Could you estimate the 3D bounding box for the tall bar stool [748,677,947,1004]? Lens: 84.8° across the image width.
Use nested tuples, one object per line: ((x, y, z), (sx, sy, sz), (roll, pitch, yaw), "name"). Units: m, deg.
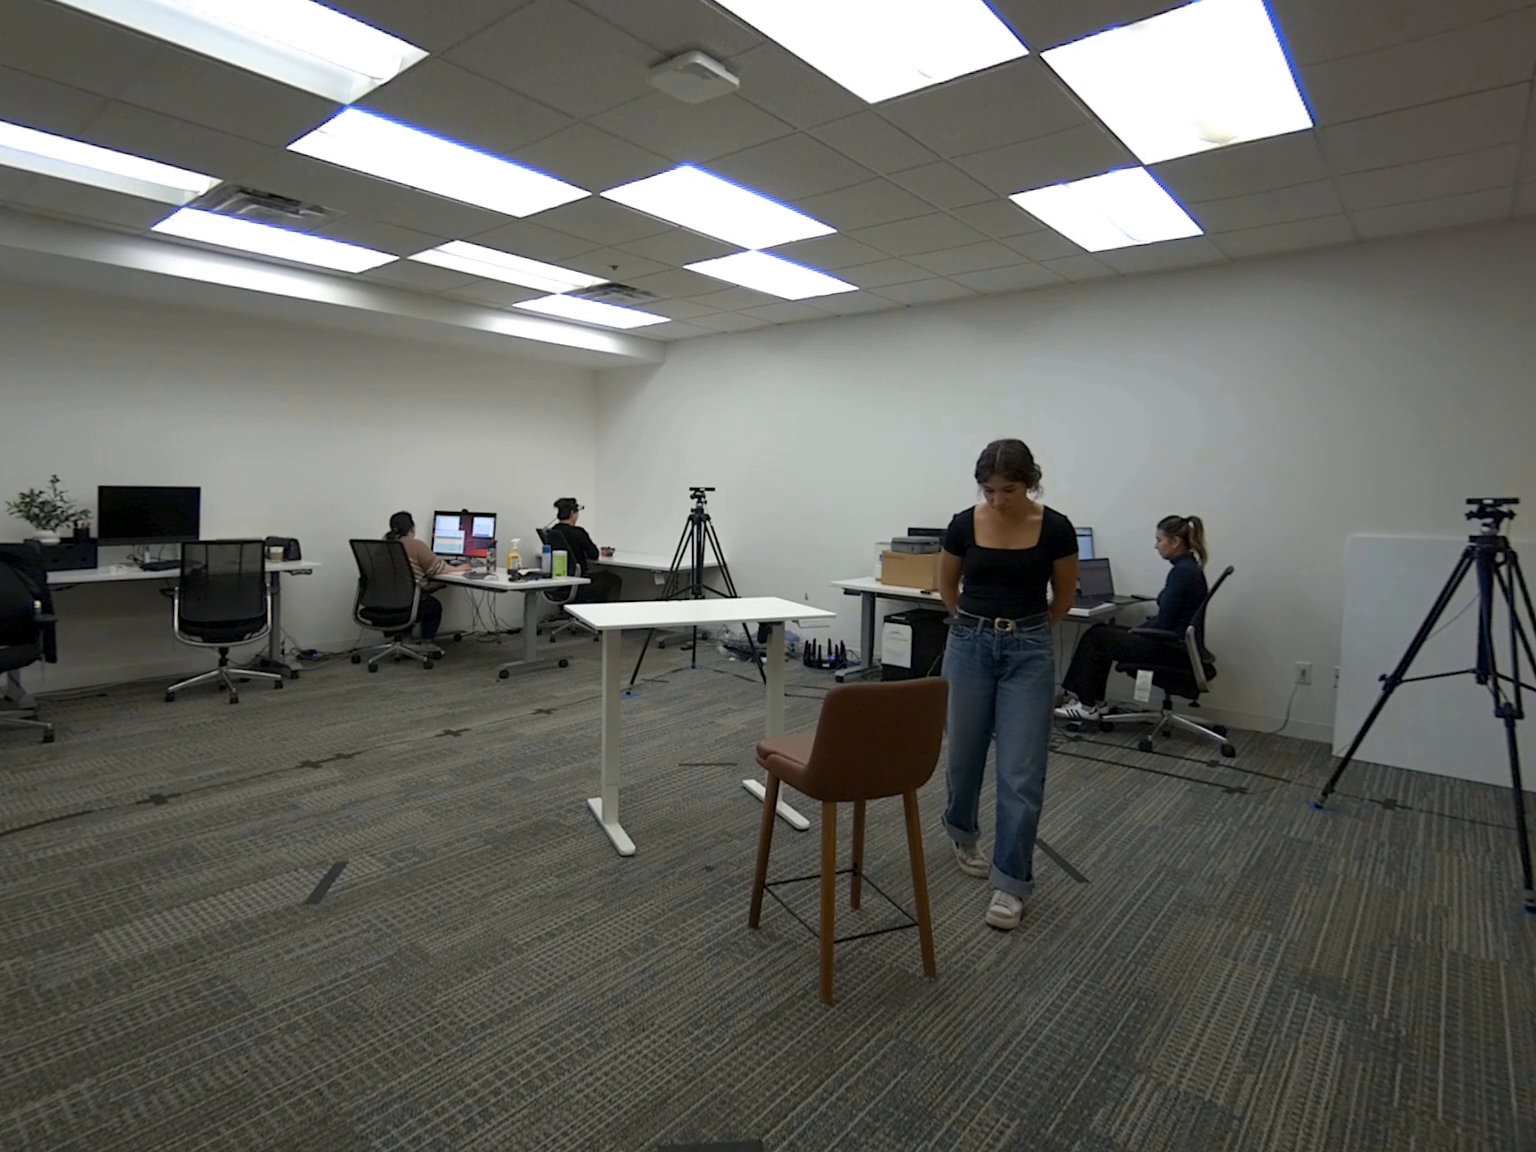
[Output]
((0.228, 0.694, 2.551), (0.445, 0.886, 0.481), (0, 5, -26), "tall bar stool")
